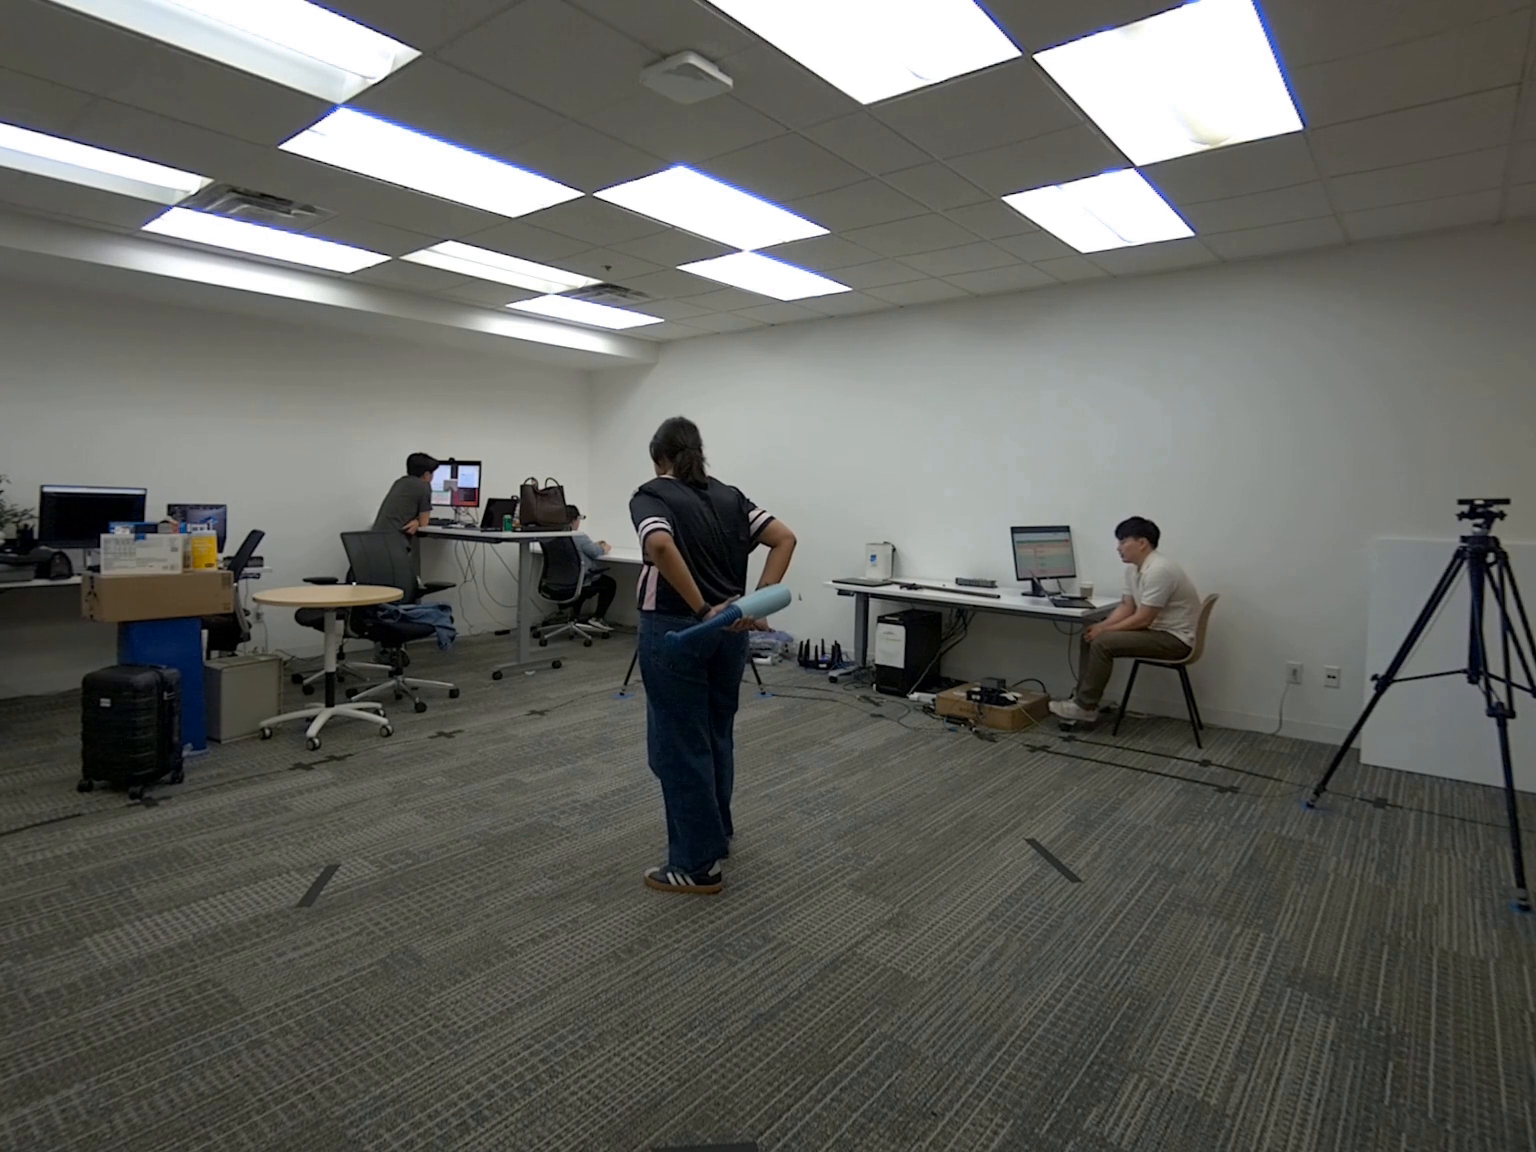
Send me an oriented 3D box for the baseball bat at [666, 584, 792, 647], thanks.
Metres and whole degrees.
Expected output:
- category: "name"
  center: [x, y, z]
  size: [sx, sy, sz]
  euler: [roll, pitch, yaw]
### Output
- category: "baseball bat"
  center: [-0.120, 0.125, 2.650]
  size: [0.092, 0.088, 0.532]
  euler: [4, 17, 40]
